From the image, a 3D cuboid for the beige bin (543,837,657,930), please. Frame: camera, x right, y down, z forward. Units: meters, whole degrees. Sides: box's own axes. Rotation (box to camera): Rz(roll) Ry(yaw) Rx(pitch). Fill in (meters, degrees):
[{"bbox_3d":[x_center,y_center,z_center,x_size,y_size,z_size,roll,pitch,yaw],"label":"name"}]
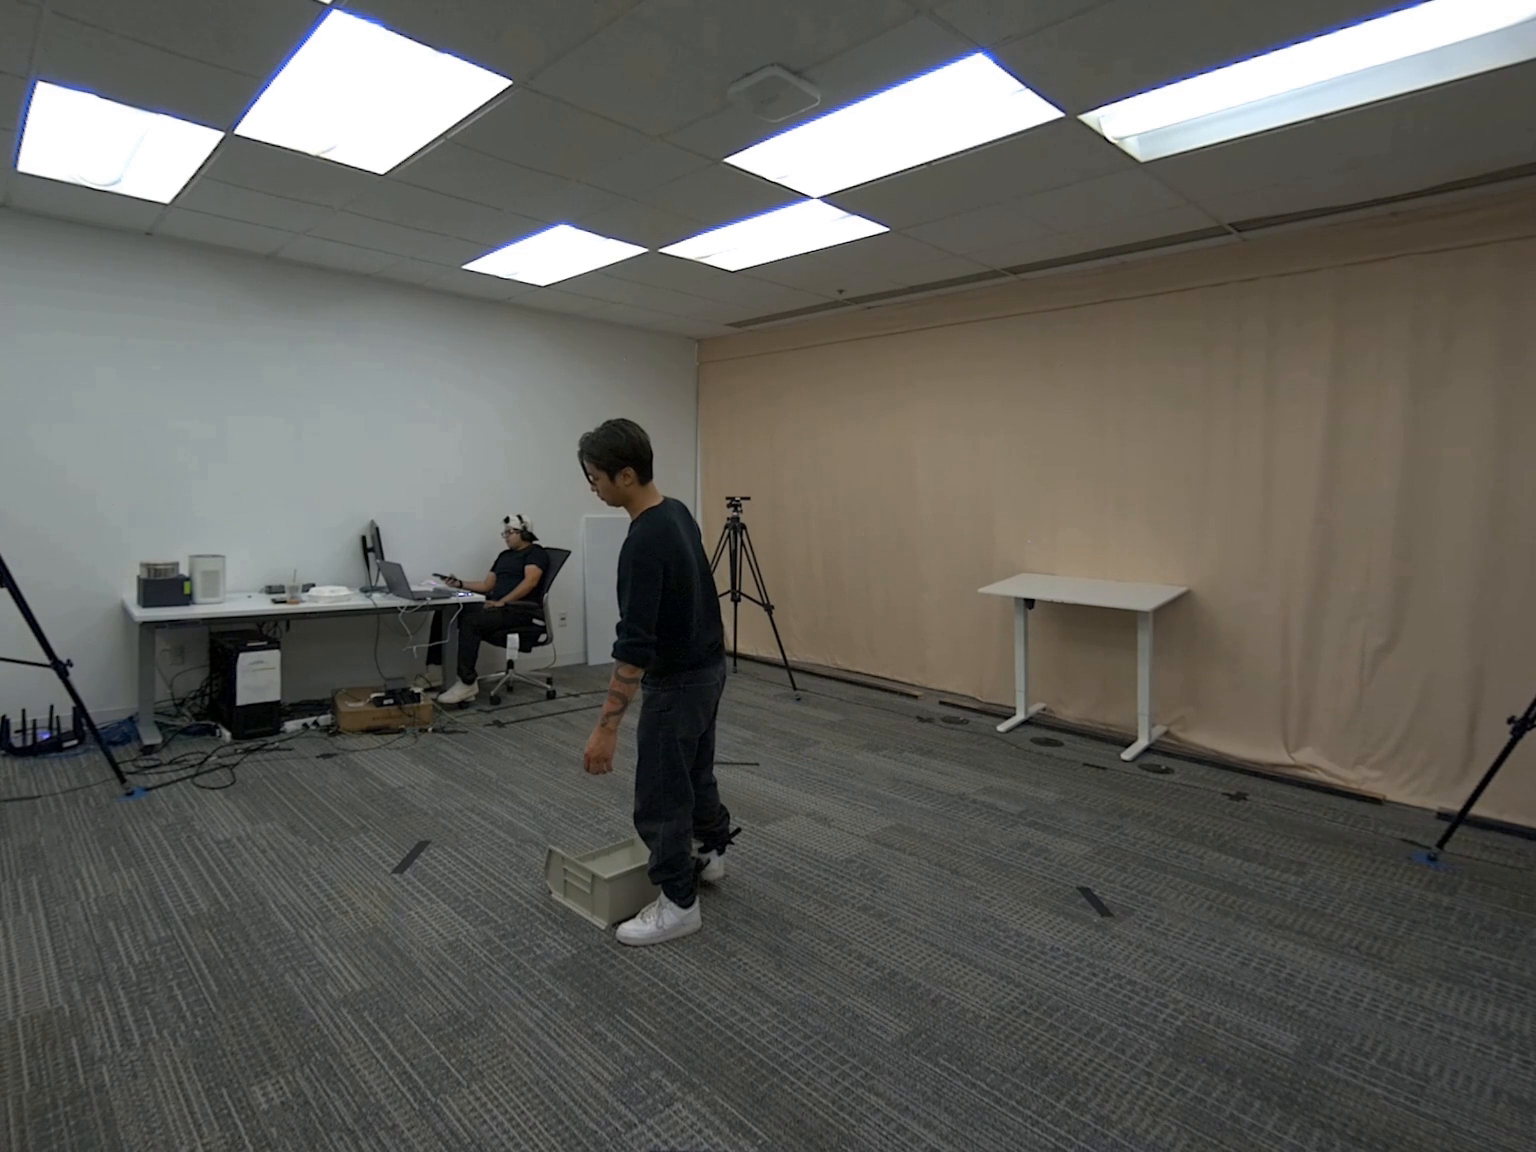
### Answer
[{"bbox_3d":[-0.514,1.023,2.953,0.413,0.188,0.387,-3,7,-45],"label":"beige bin"}]
